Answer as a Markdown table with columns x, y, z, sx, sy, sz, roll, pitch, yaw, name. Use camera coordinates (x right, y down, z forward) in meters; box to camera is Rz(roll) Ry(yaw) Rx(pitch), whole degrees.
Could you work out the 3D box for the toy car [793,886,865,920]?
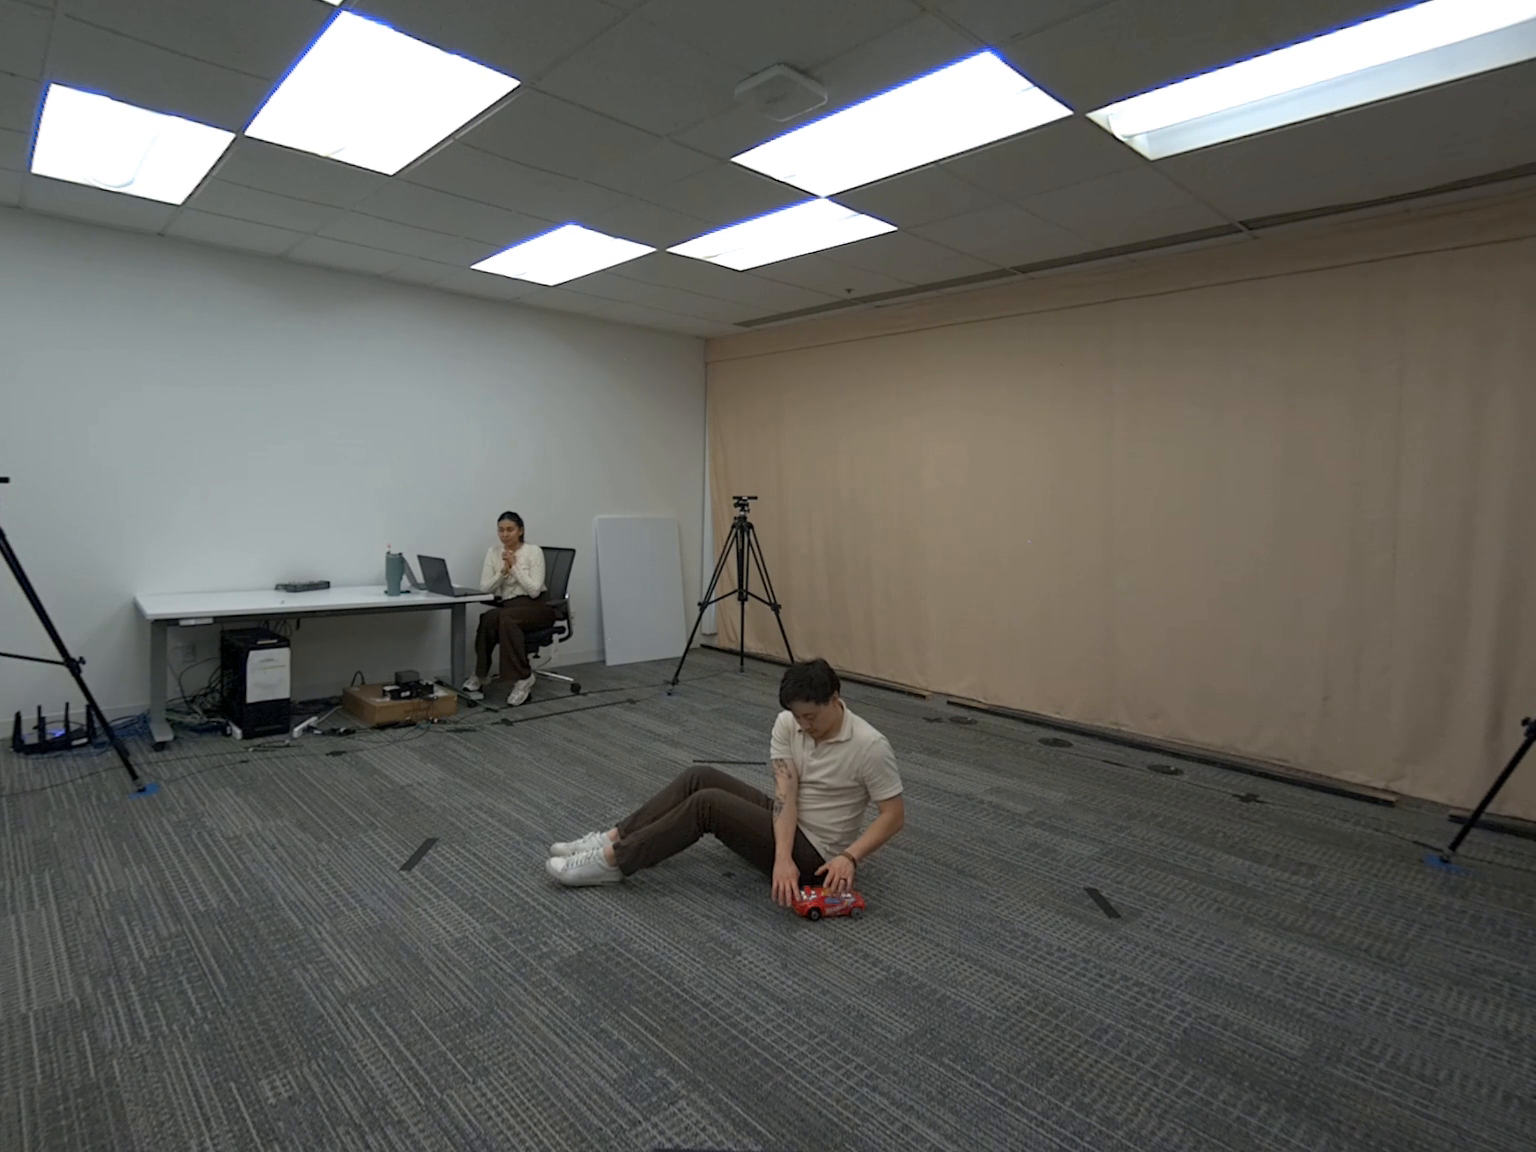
| x | y | z | sx | sy | sz | roll | pitch | yaw | name |
| --- | --- | --- | --- | --- | --- | --- | --- | --- | --- |
| 0.173 | 1.100 | 2.825 | 0.253 | 0.083 | 0.131 | 12 | 4 | -8 | toy car |
